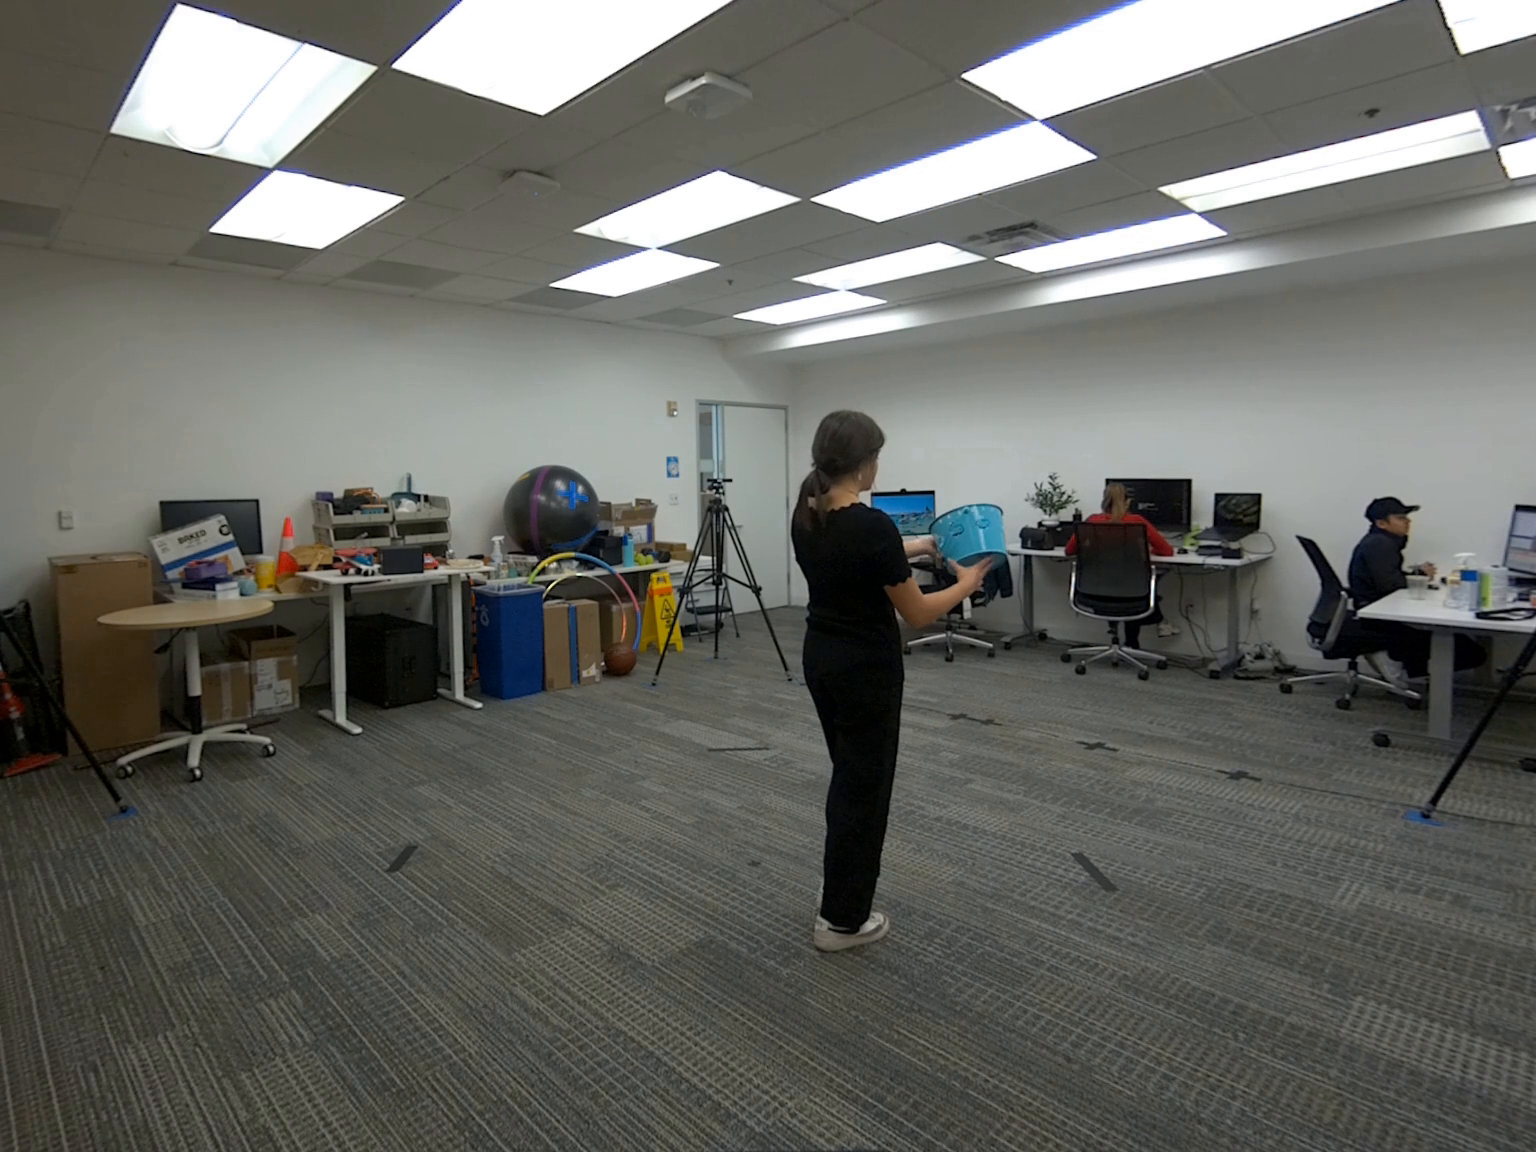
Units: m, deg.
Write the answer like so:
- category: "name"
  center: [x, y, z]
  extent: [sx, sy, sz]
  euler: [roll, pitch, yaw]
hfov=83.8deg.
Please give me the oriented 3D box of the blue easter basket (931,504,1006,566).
- category: "blue easter basket"
  center: [0.629, -0.105, 2.685]
  extent: [0.243, 0.160, 0.238]
  euler: [-6, -25, -5]
